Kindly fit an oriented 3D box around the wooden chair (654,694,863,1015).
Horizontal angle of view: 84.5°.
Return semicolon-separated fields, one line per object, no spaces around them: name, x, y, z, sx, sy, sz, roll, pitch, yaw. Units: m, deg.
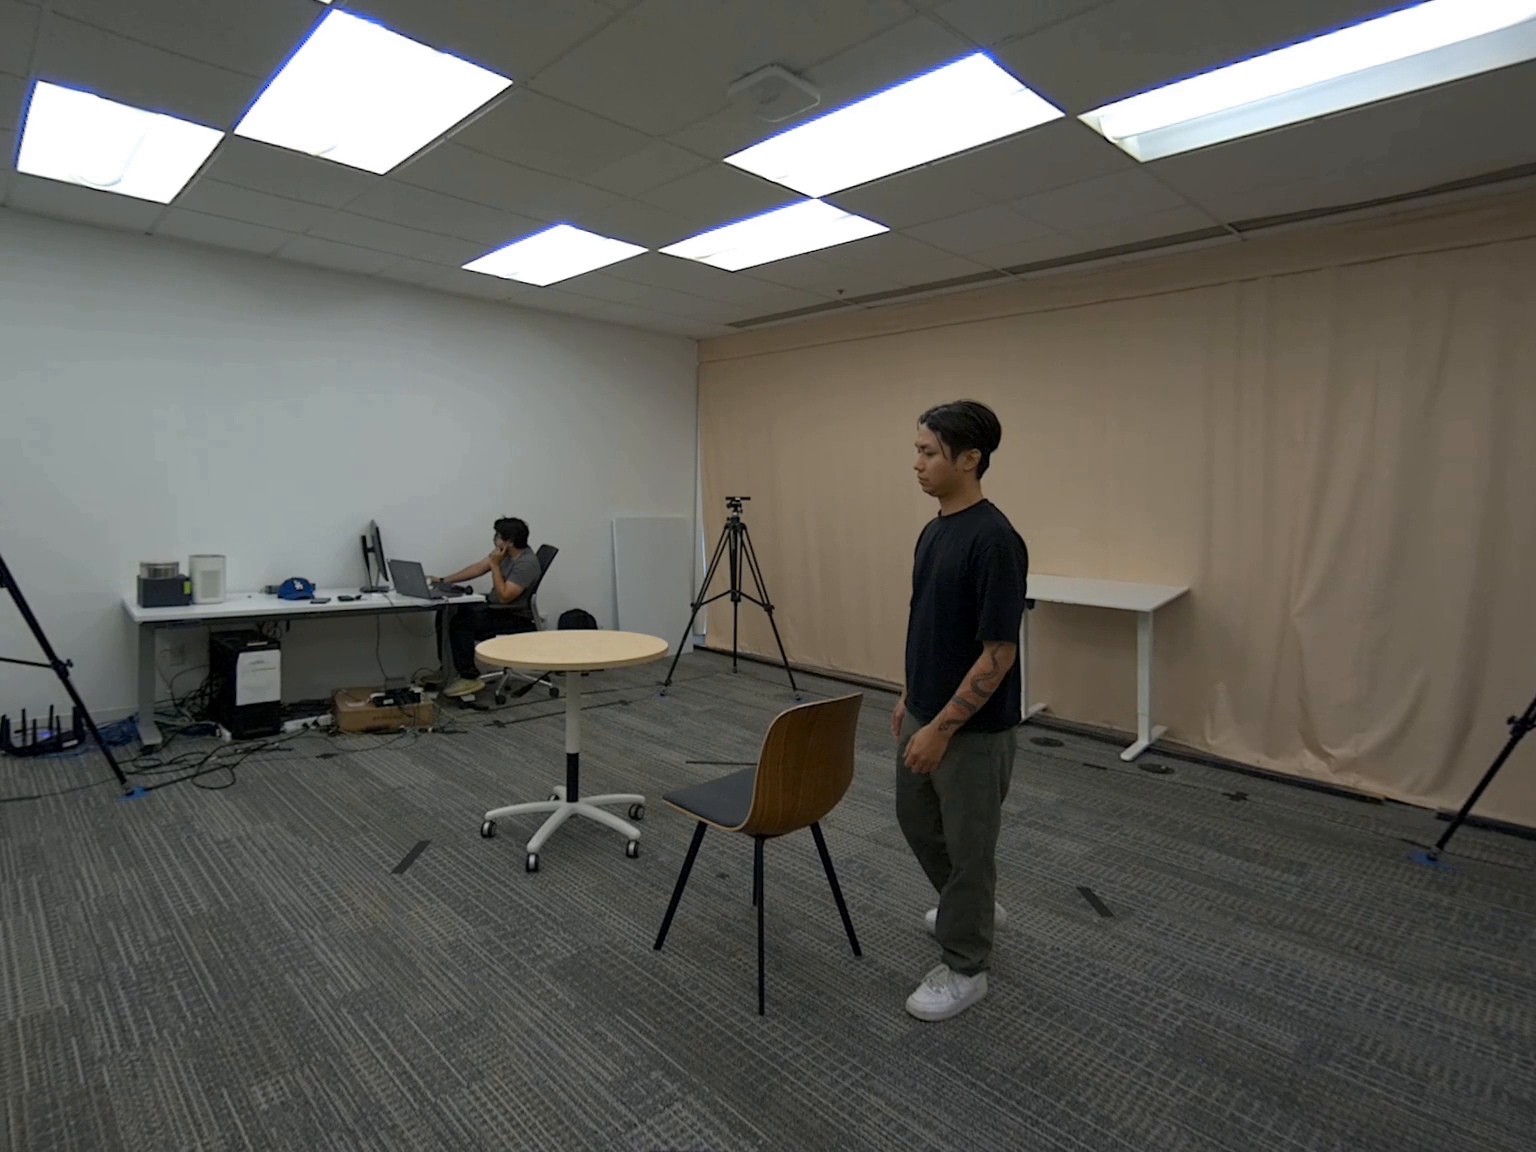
wooden chair;-0.028;0.729;2.556;0.537;0.873;0.467;11;10;44
